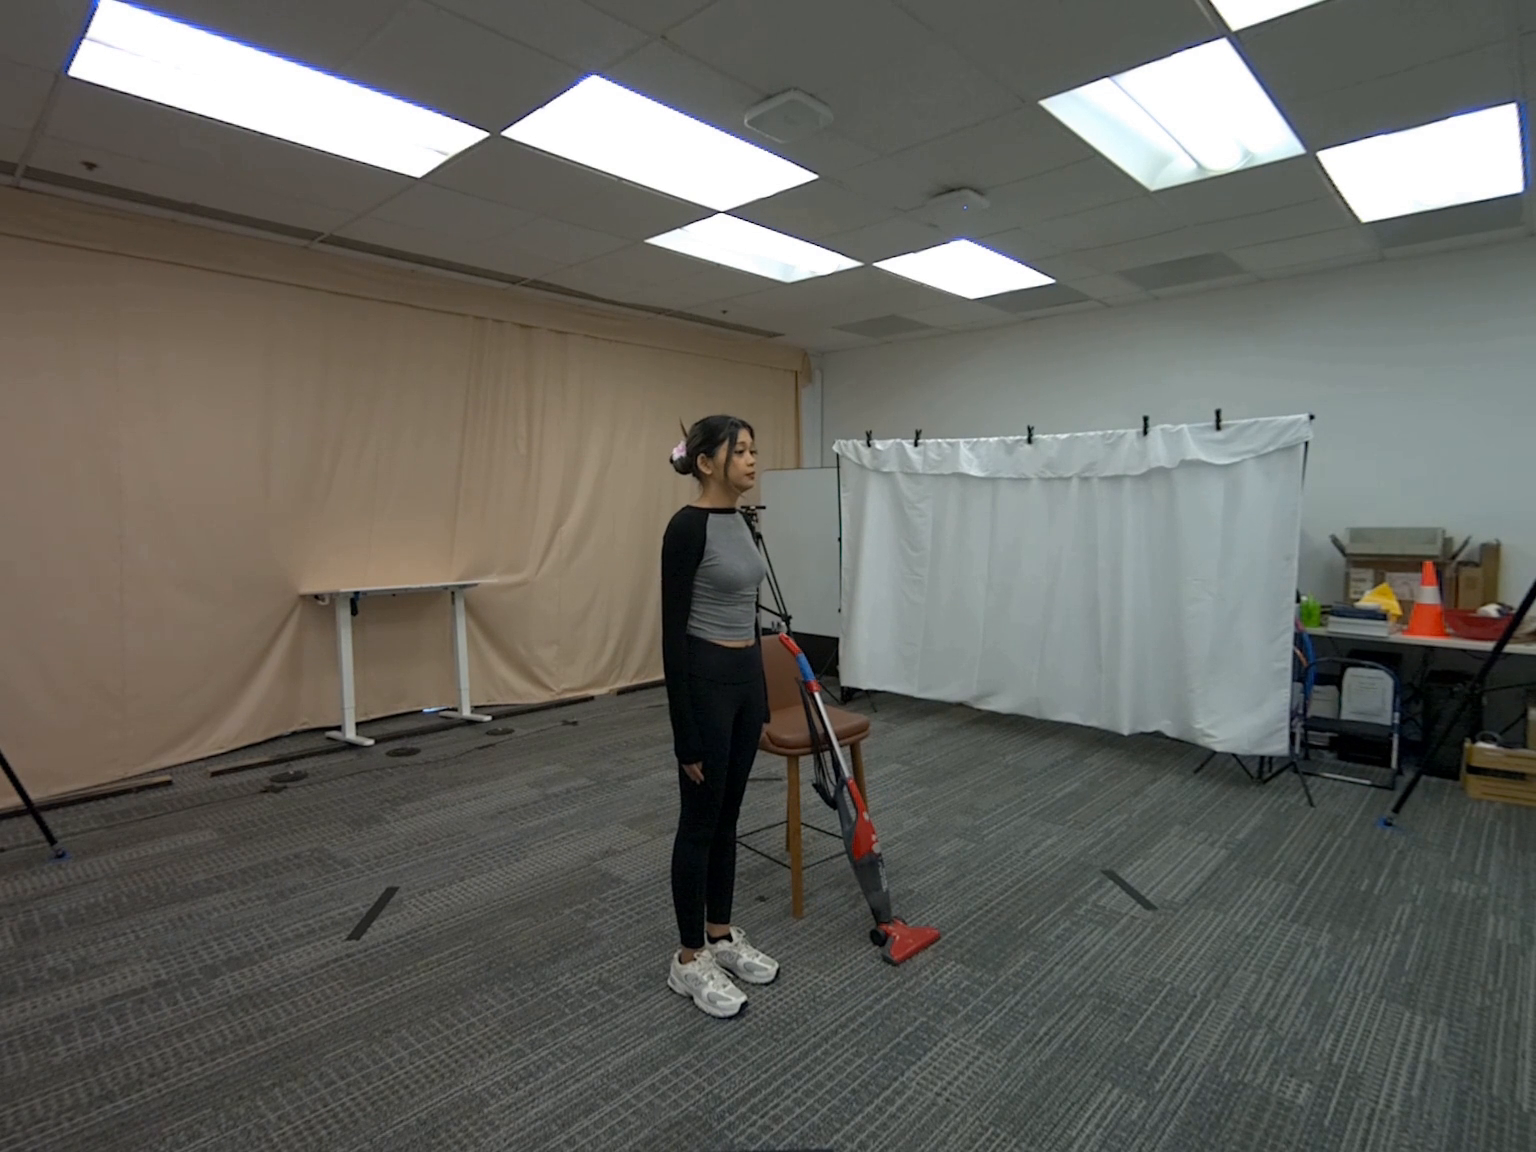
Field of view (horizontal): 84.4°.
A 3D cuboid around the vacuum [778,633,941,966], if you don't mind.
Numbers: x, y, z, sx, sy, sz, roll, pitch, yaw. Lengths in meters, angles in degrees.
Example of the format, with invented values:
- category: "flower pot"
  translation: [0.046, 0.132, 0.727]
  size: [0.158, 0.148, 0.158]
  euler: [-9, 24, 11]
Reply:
- category: "vacuum"
  translation: [0.255, 0.688, 2.826]
  size: [0.245, 1.066, 0.146]
  euler: [-3, -24, -47]
